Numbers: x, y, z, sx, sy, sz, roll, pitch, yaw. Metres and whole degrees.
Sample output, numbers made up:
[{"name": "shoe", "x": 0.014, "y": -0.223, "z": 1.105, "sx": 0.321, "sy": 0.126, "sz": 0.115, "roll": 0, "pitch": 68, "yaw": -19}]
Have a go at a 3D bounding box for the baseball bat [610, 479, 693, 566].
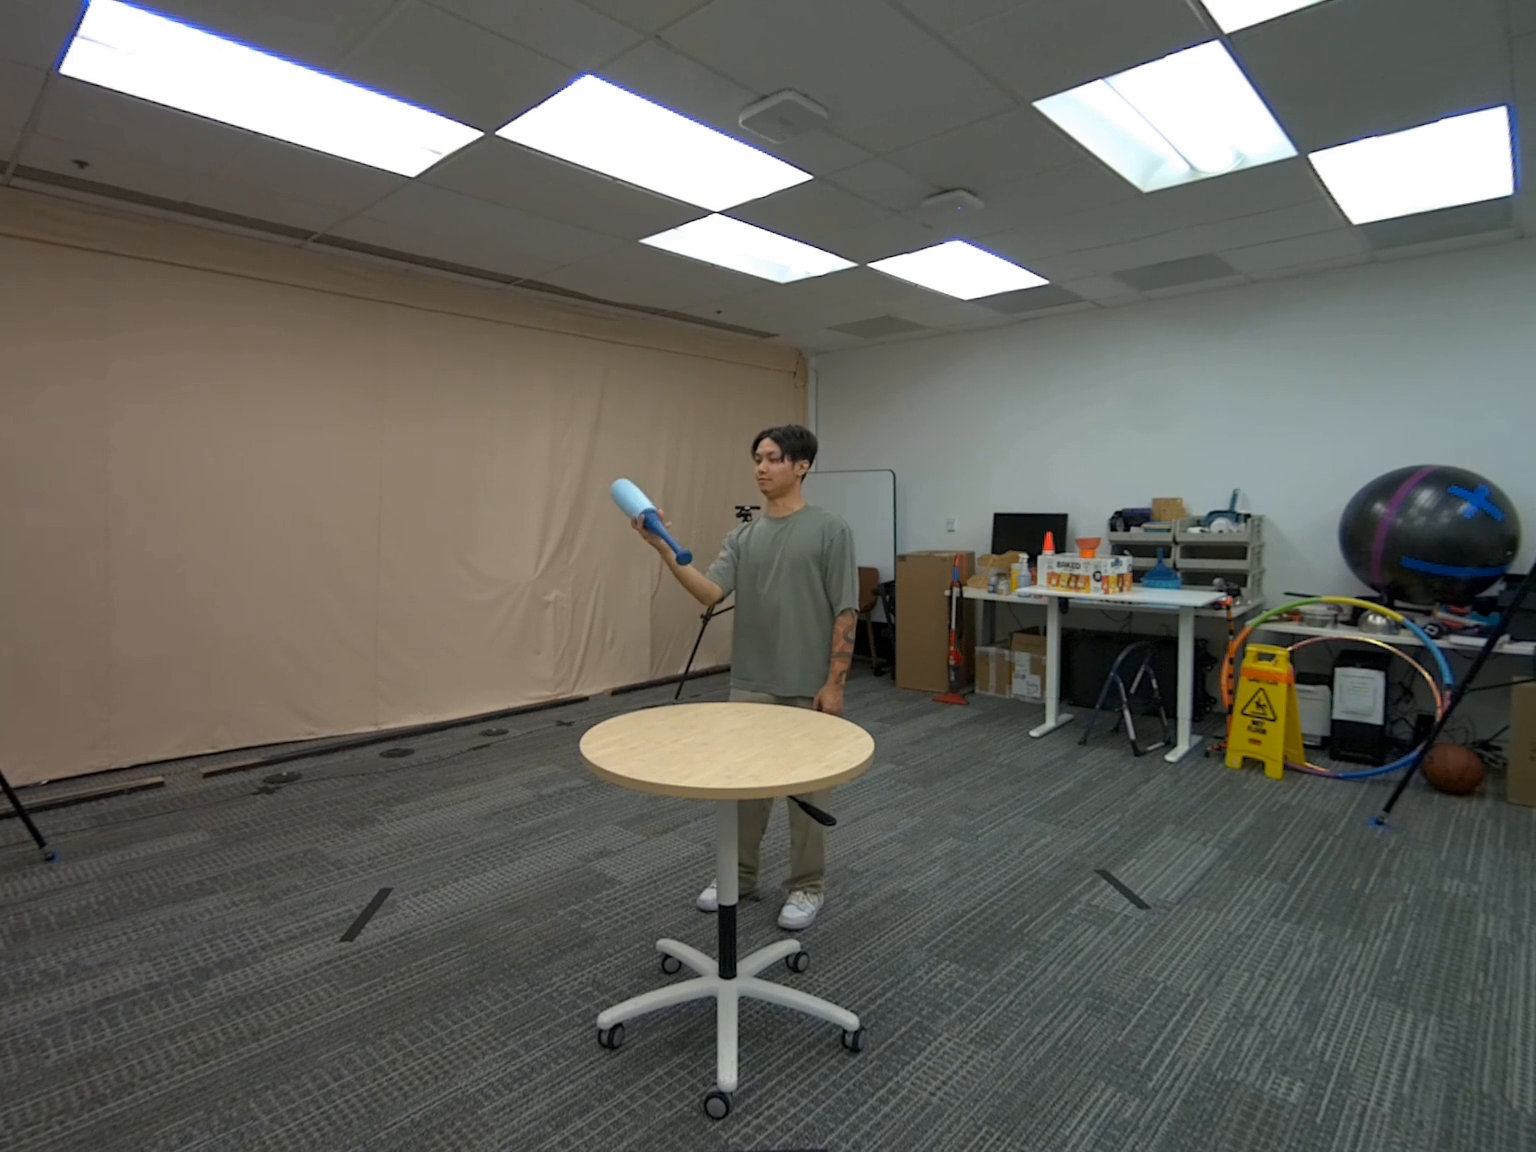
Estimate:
[{"name": "baseball bat", "x": -0.352, "y": -0.167, "z": 2.615, "sx": 0.087, "sy": 0.088, "sz": 0.562, "roll": -2, "pitch": 27, "yaw": -28}]
